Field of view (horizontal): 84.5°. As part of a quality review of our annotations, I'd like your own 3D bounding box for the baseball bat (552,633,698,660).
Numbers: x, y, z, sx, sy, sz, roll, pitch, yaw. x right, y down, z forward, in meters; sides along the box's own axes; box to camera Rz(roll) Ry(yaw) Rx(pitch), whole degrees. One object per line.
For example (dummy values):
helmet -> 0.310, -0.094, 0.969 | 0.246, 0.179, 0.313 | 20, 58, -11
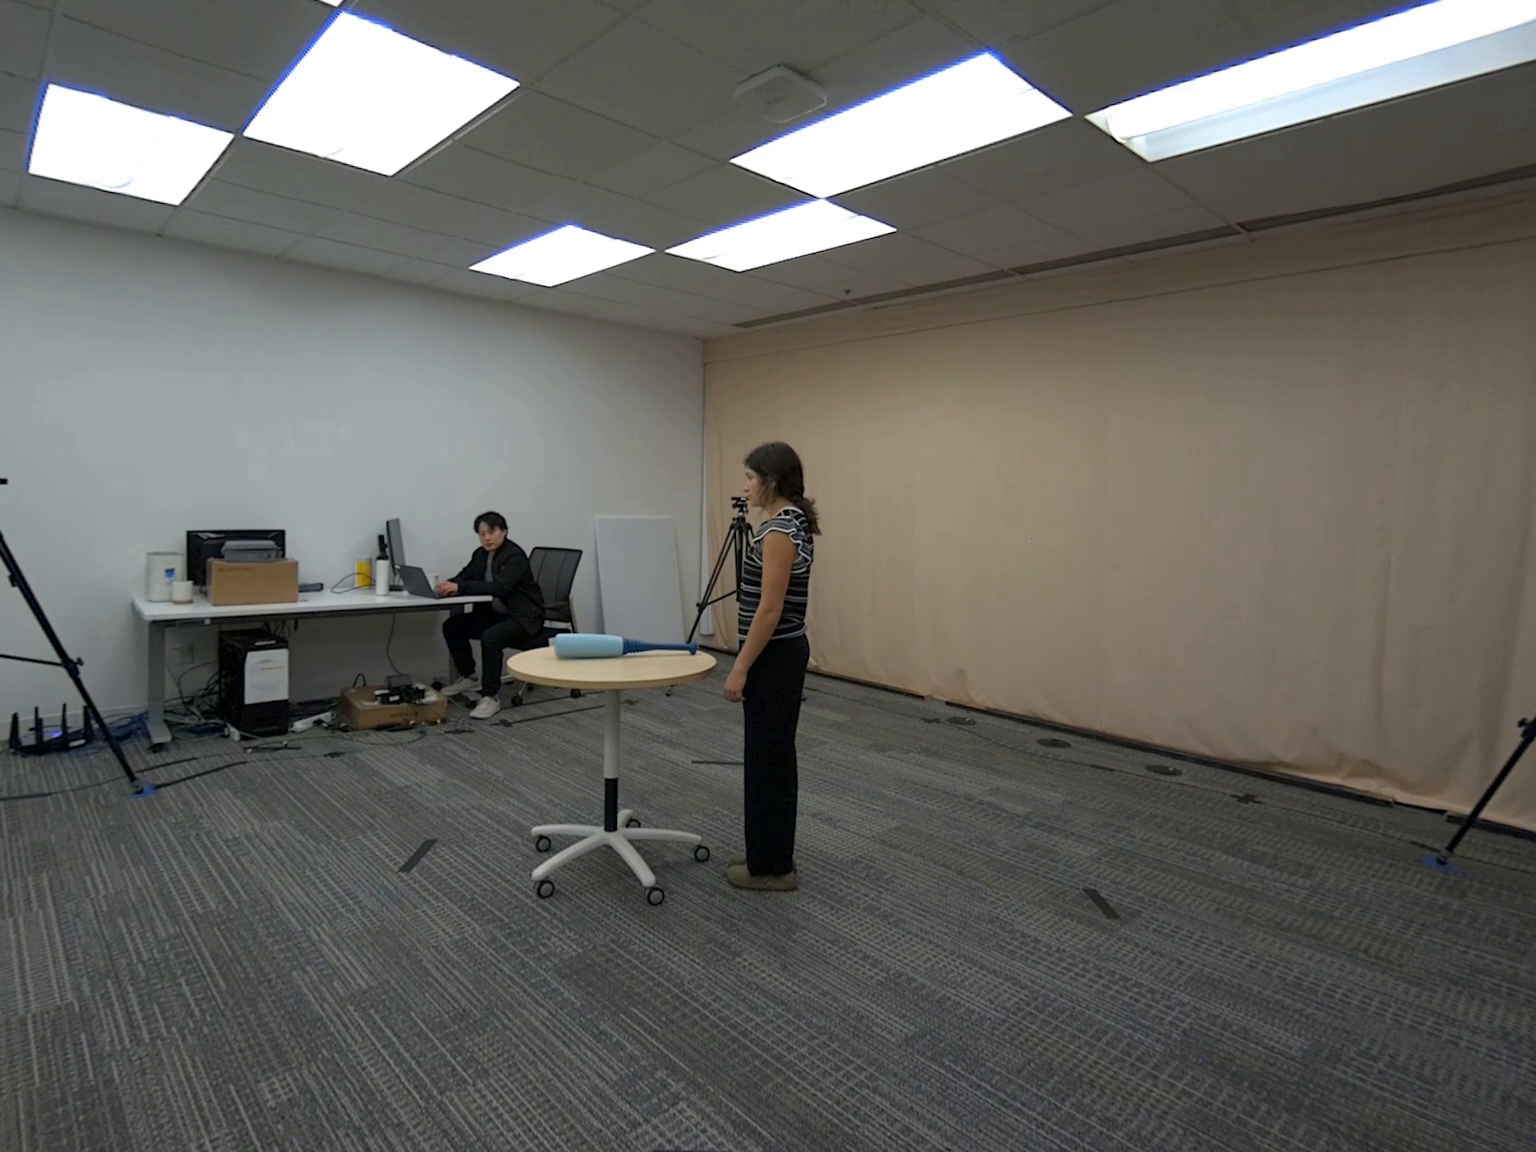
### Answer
baseball bat -> -0.541, 0.269, 3.199 | 0.536, 0.089, 0.090 | 2, 4, -17
